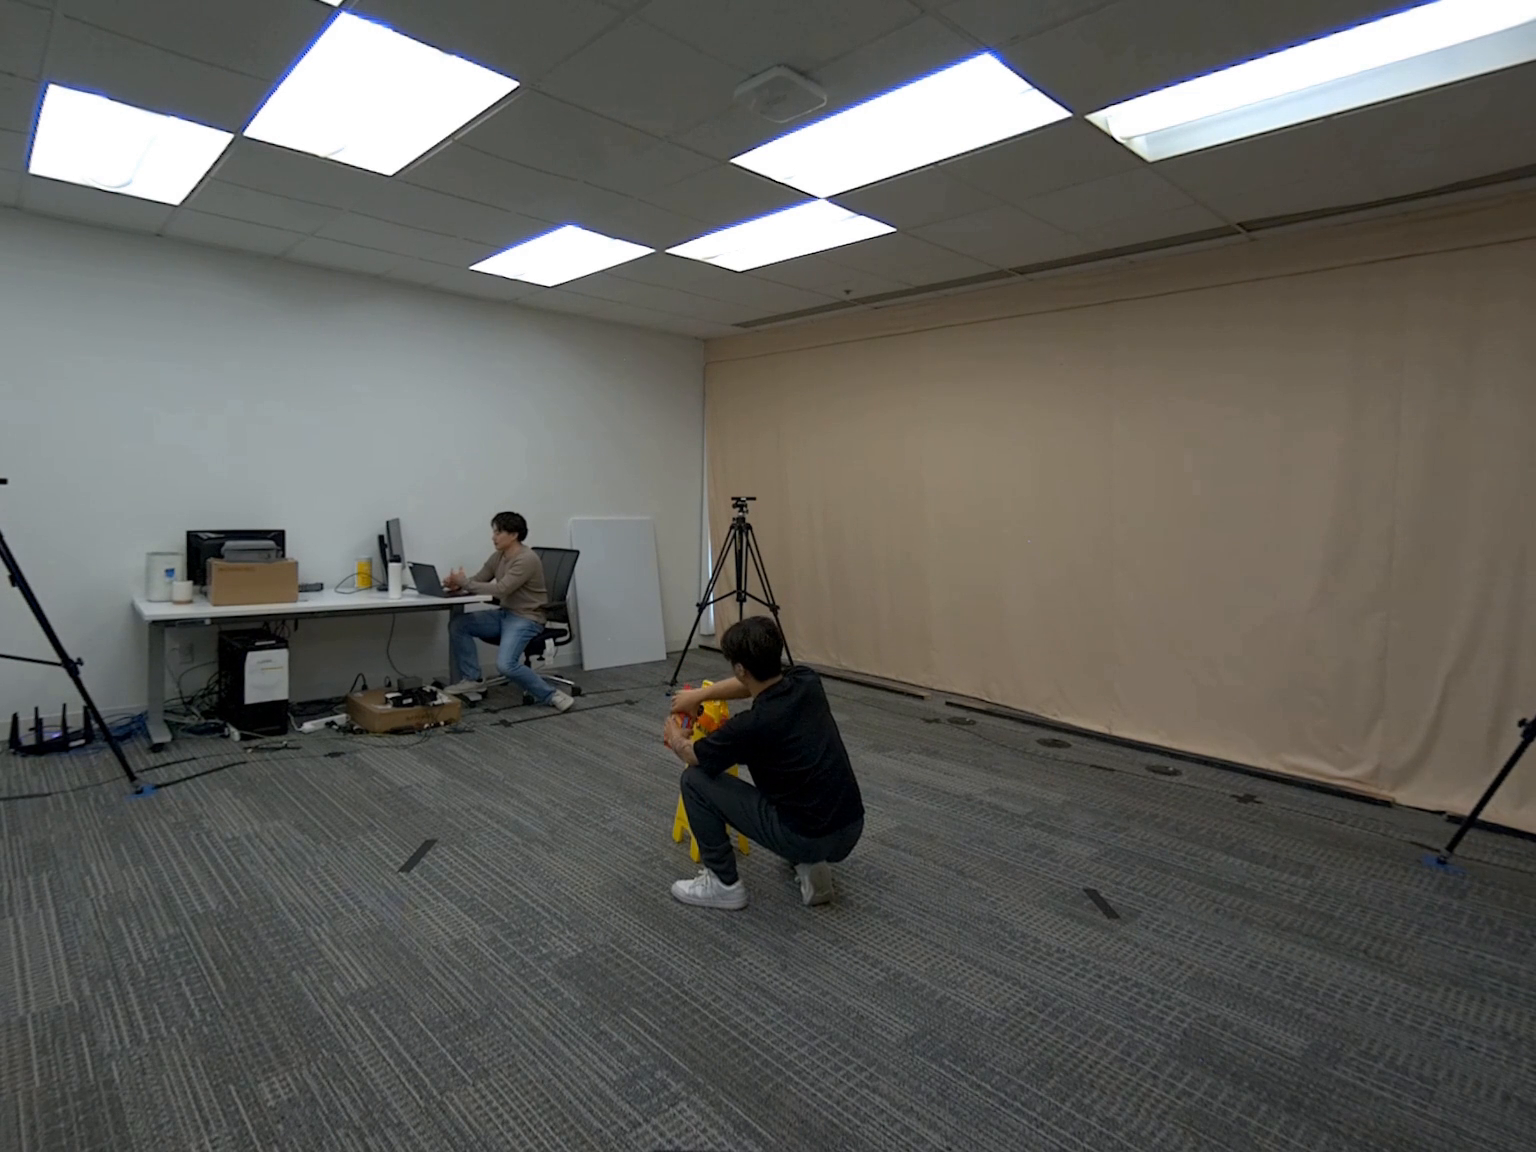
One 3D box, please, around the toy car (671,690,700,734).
[{"bbox_3d":[-0.327,0.554,3.263,0.134,0.254,0.081,14,2,44],"label":"toy car"}]
